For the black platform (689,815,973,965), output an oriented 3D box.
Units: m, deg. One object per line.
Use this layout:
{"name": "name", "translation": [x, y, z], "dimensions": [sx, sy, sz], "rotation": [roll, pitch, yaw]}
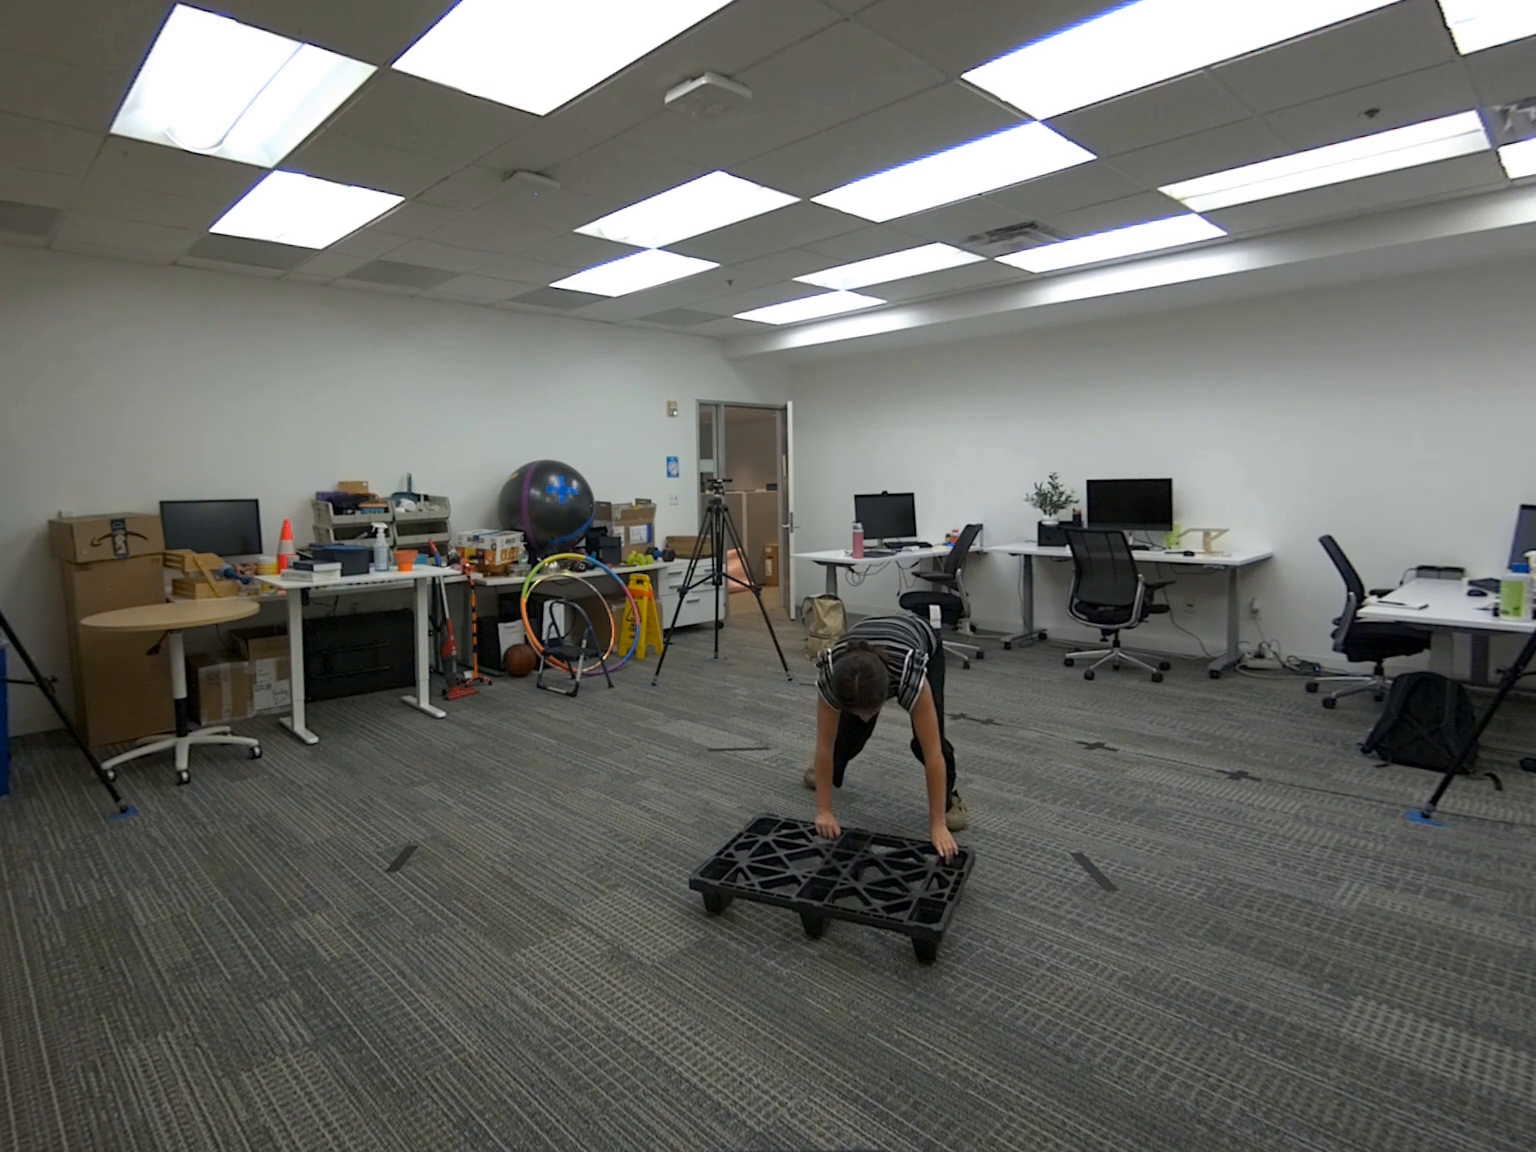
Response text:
{"name": "black platform", "translation": [0.219, 1.005, 2.795], "dimensions": [0.824, 0.143, 0.594], "rotation": [2, 7, 25]}
